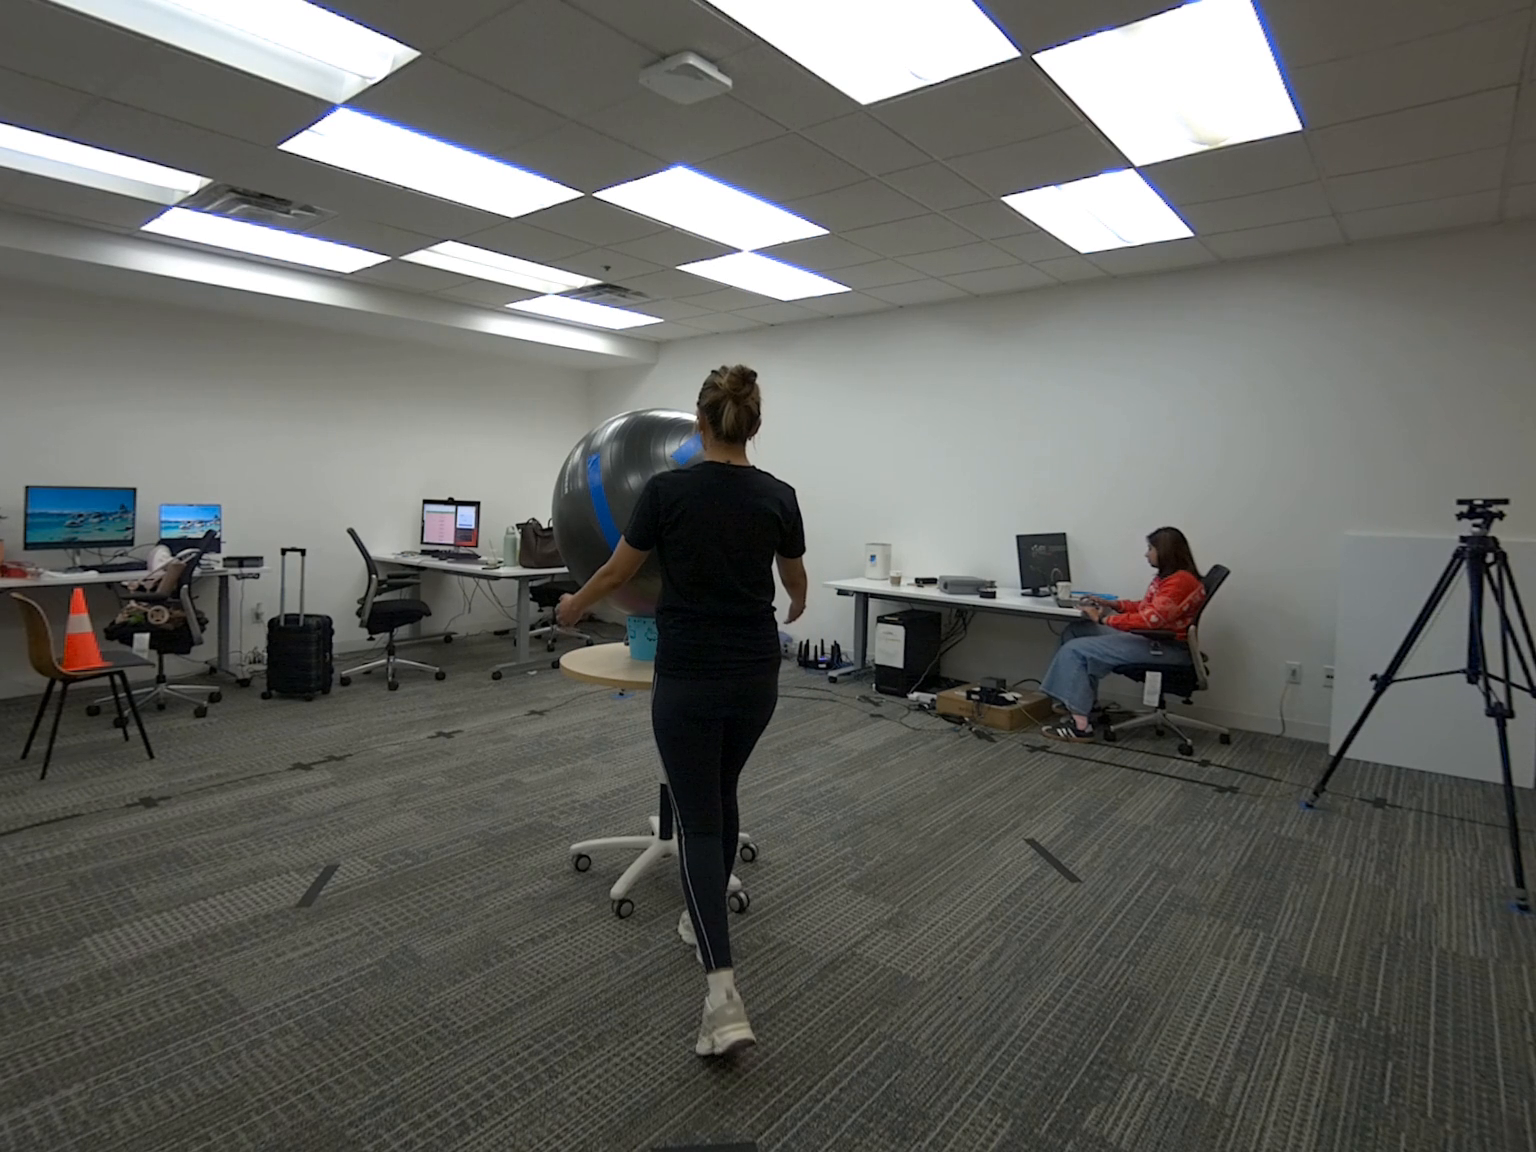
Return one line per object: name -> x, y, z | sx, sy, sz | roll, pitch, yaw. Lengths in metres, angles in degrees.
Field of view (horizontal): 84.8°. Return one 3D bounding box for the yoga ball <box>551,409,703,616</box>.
yoga ball -> -0.404, -0.218, 3.057 | 0.757, 0.756, 0.761 | 1, 4, -2
